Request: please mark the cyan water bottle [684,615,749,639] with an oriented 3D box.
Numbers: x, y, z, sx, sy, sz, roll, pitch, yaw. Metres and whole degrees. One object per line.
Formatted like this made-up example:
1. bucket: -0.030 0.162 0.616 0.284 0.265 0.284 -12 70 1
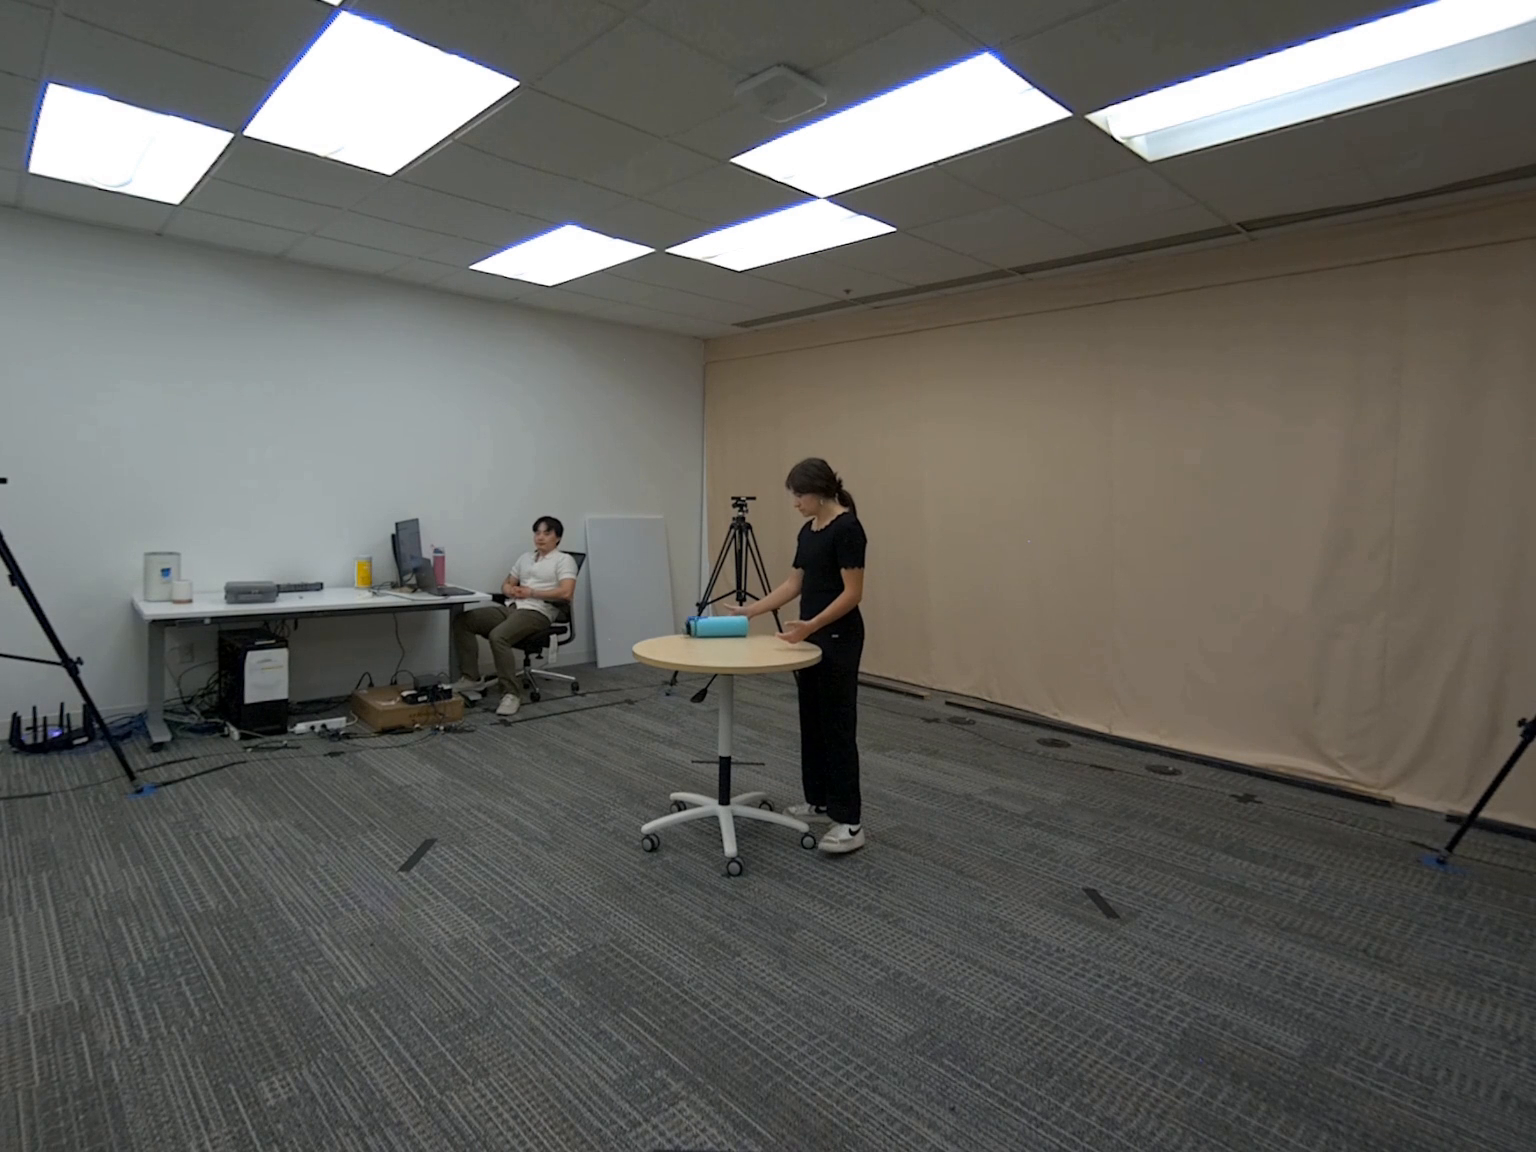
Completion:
1. cyan water bottle: -0.242 0.218 3.684 0.280 0.092 0.093 1 4 -14
